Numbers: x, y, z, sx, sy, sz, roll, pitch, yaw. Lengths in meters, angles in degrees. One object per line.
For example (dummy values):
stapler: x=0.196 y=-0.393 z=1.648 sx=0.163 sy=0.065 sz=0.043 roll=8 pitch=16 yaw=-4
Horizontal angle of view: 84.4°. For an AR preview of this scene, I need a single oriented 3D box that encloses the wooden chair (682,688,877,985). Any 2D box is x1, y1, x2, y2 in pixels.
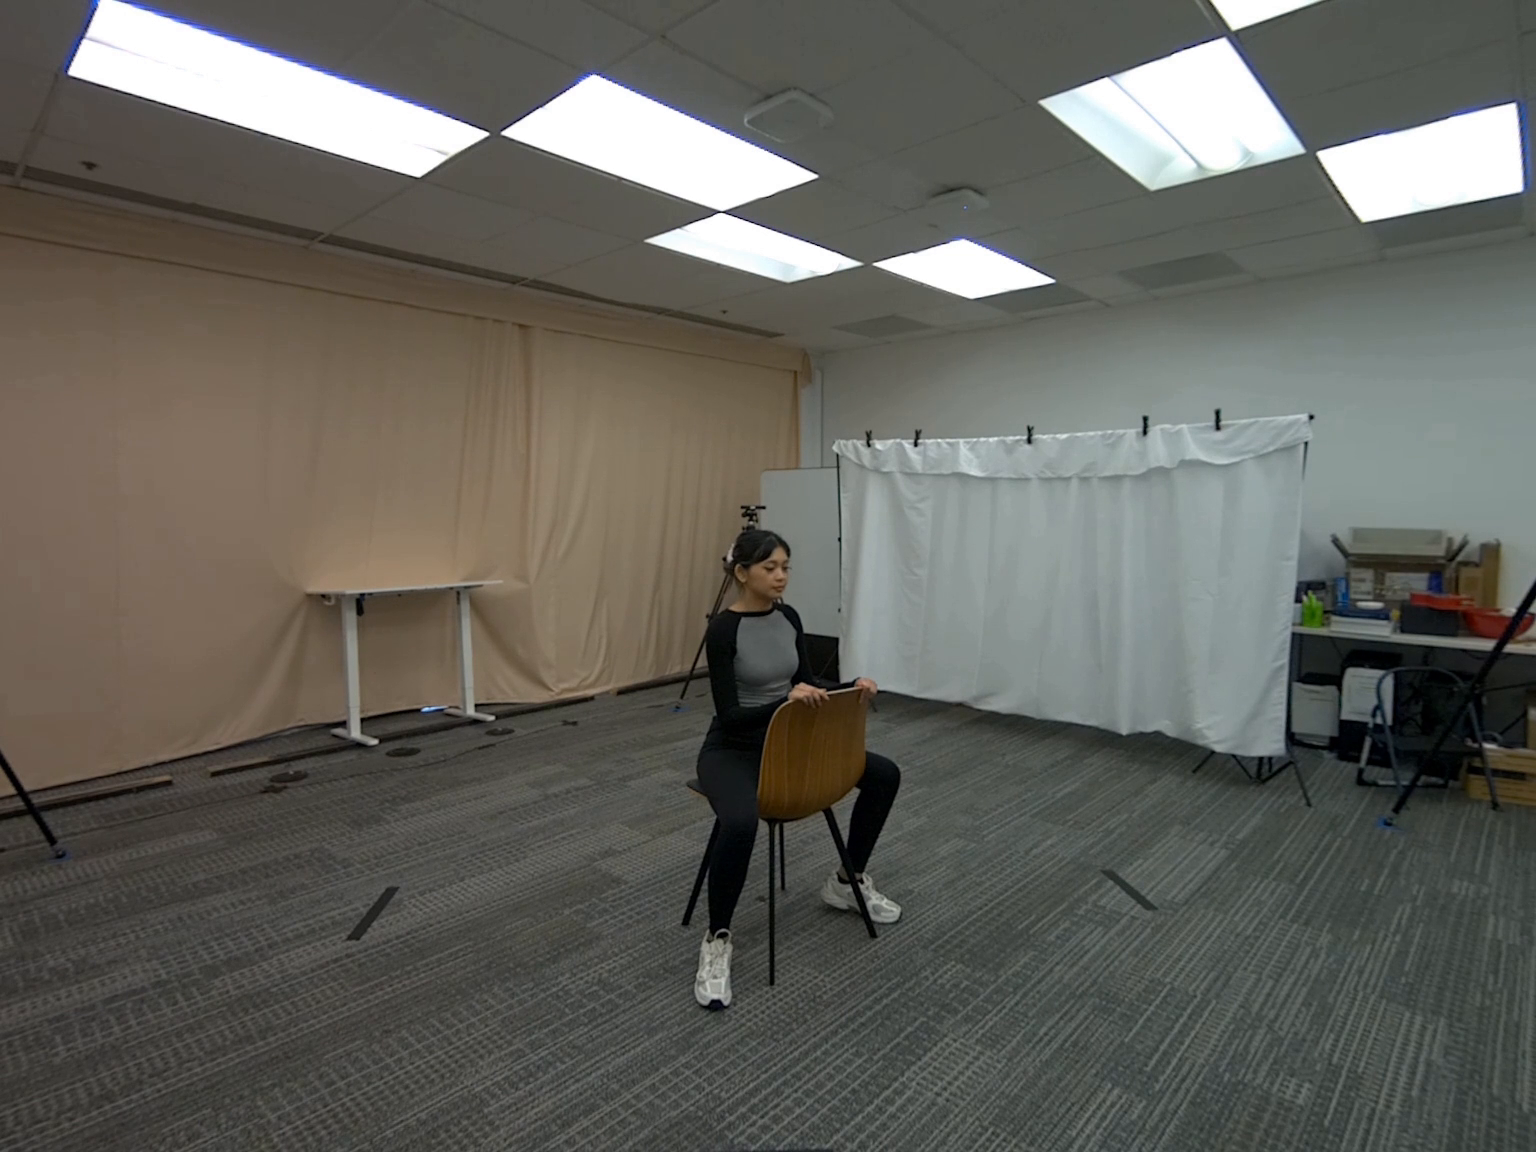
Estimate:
wooden chair: x=0.027 y=0.739 z=2.736 sx=0.464 sy=0.874 sz=0.541 roll=-3 pitch=9 yaw=-39
